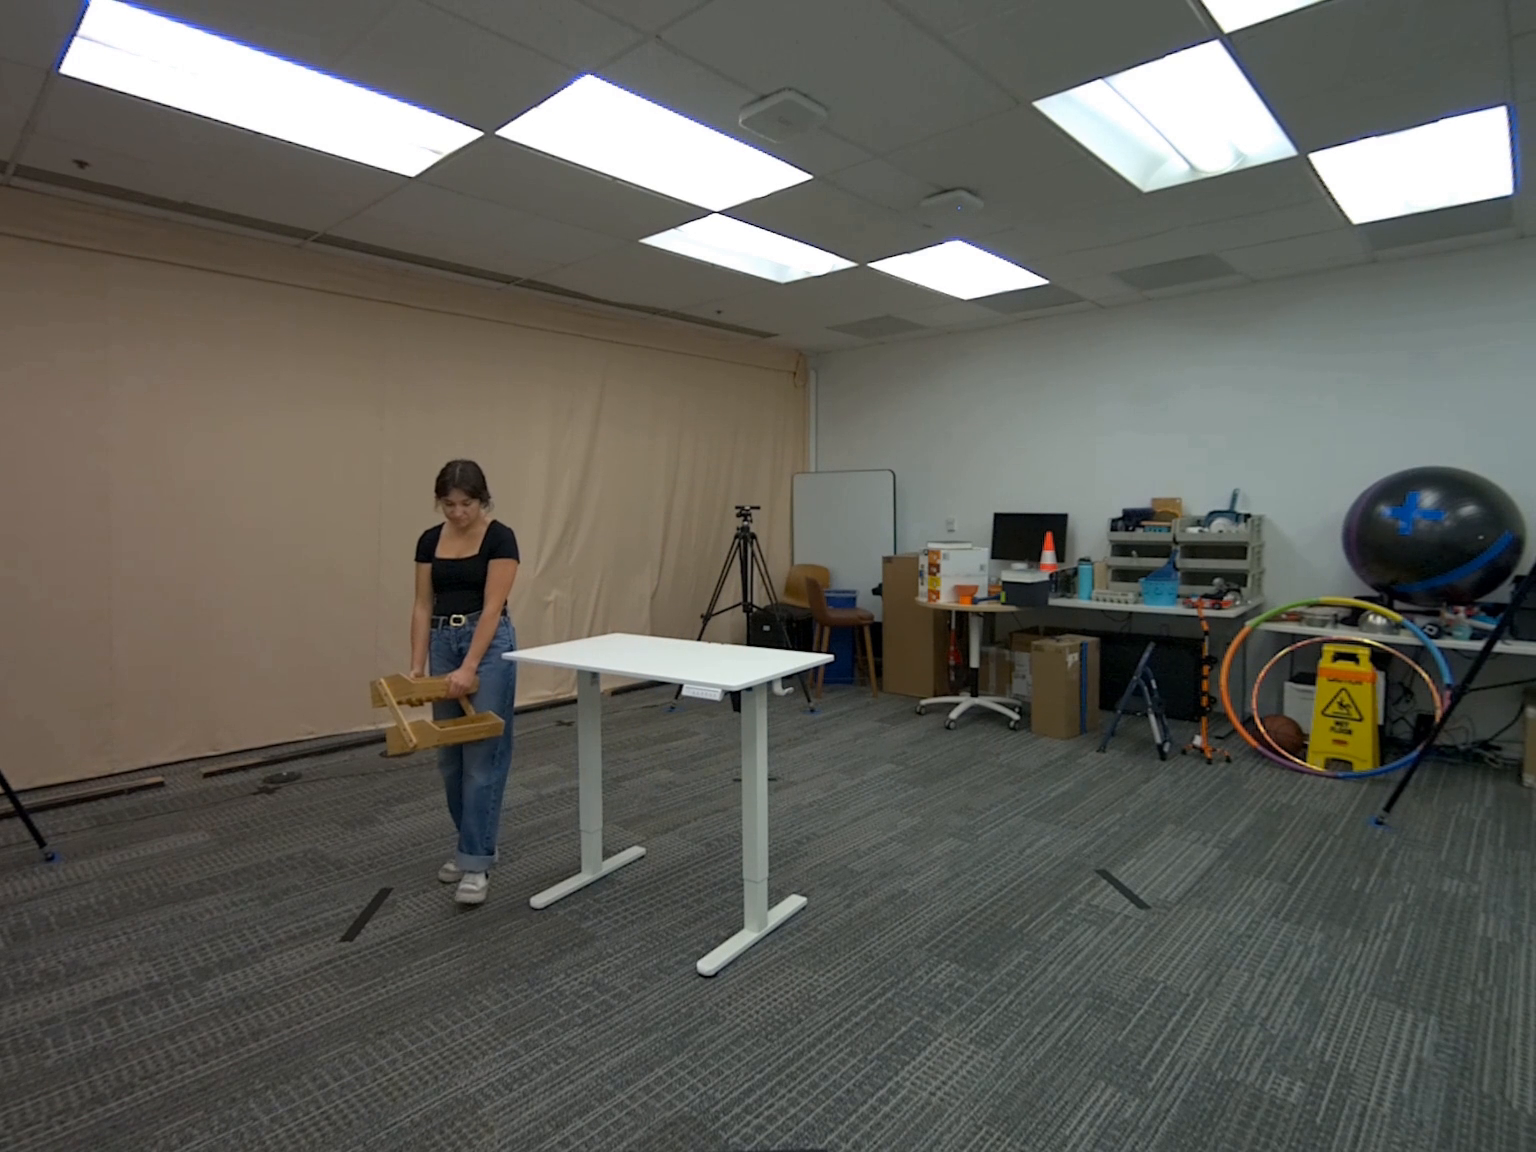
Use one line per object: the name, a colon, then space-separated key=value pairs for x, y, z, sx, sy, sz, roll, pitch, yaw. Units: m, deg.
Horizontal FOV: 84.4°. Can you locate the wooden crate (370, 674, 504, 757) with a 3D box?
wooden crate: x=-1.147 y=0.455 z=2.923 sx=0.308 sy=0.276 sz=0.315 roll=-17 pitch=-12 yaw=28
